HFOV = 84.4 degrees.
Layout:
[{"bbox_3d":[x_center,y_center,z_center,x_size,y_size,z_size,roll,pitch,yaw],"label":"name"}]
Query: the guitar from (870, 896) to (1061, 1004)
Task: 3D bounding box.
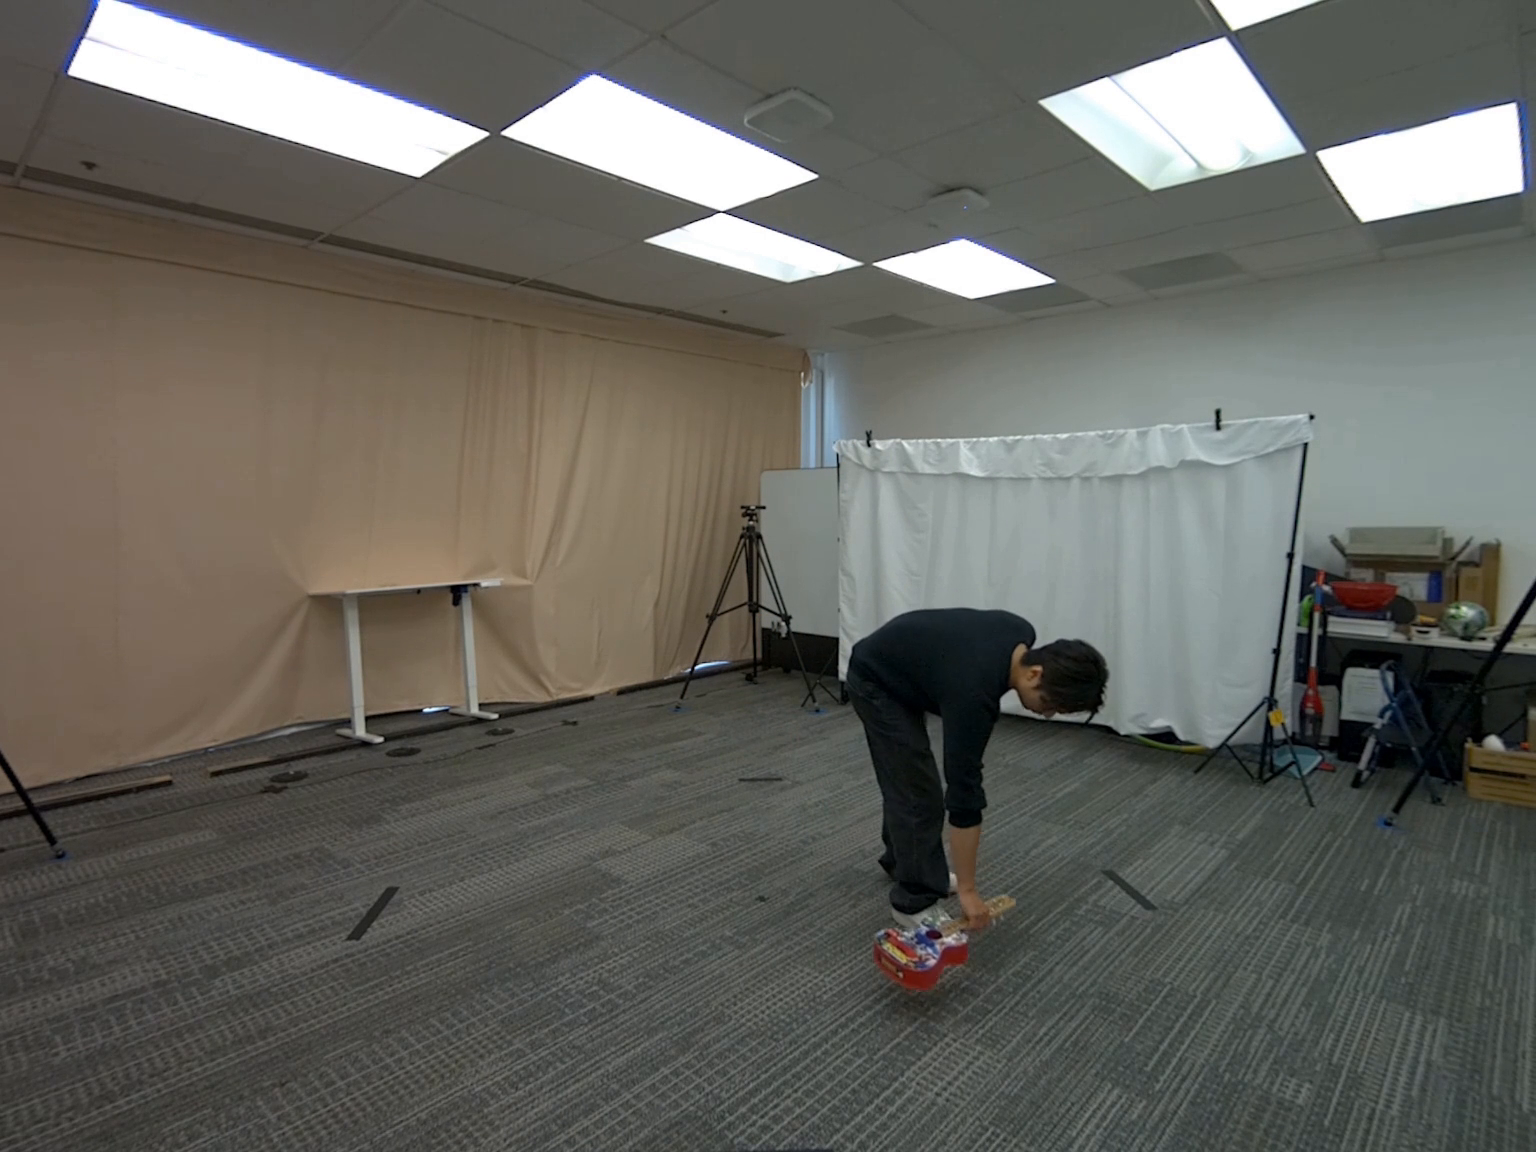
[{"bbox_3d":[0.555,1.040,2.382,0.487,0.070,0.198,-6,13,-22],"label":"guitar"}]
